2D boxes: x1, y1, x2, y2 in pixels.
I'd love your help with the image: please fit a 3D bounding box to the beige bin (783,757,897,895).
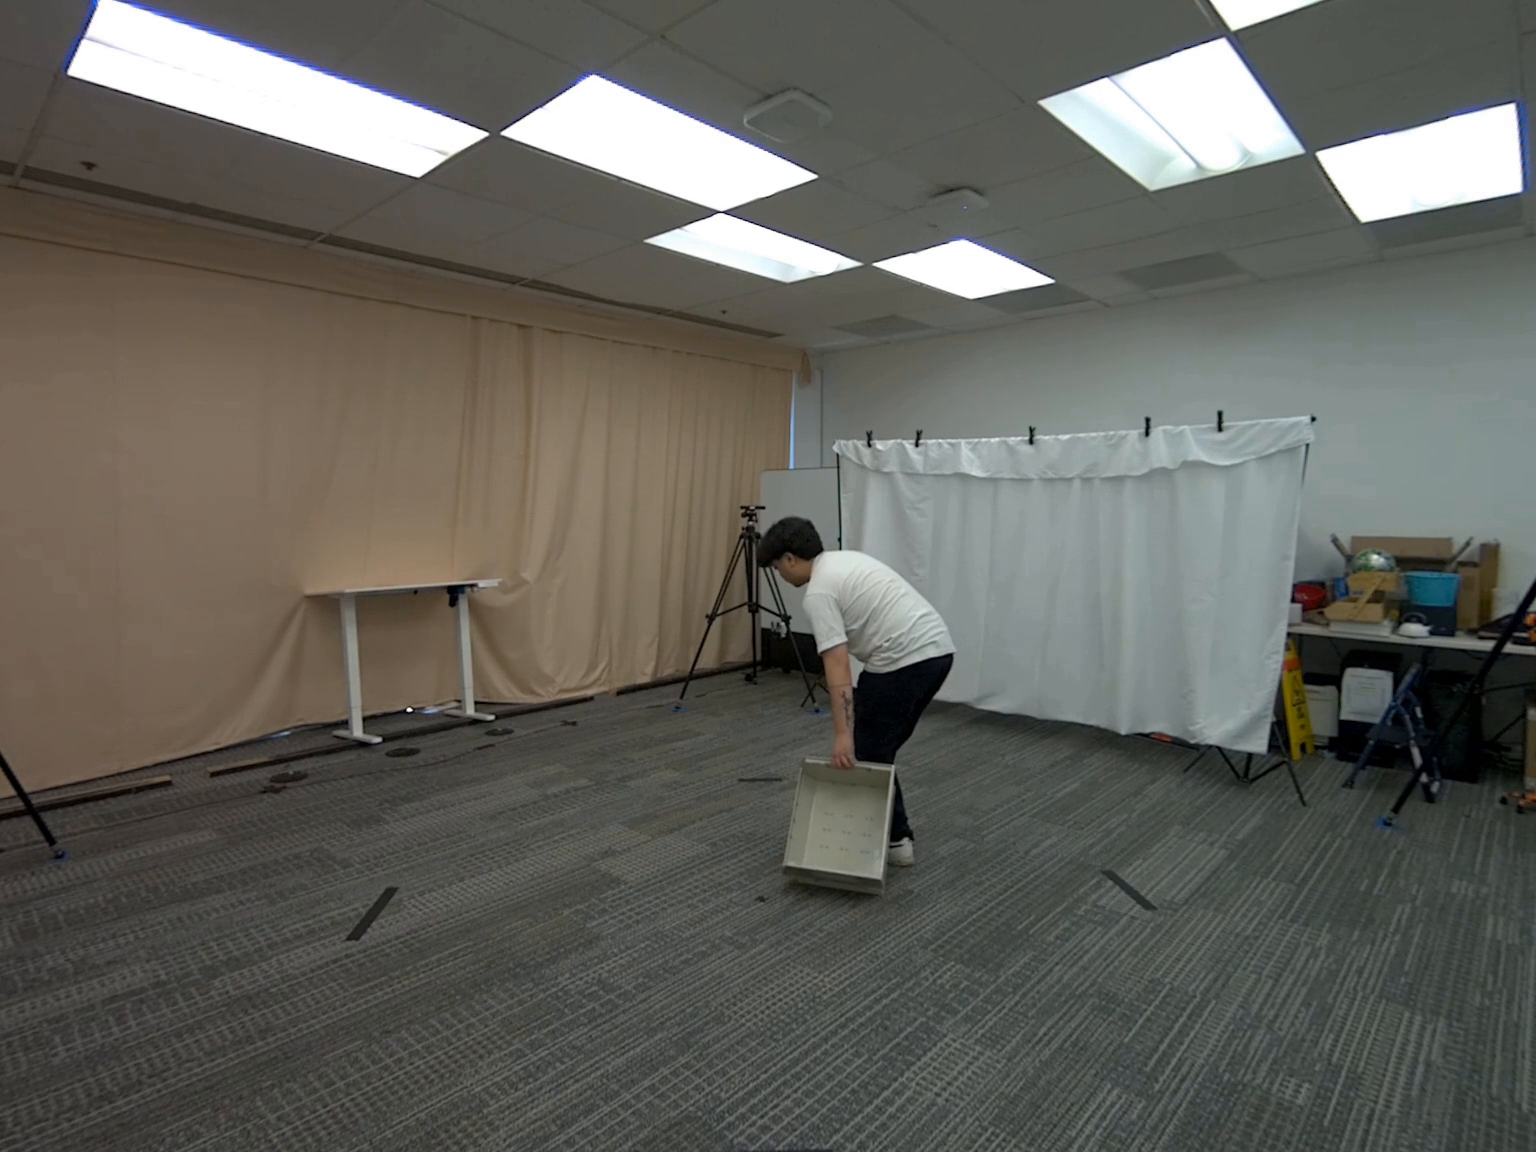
[{"bbox_3d":[0.269,0.920,3.123,0.385,0.426,0.184,1,-39,17],"label":"beige bin"}]
